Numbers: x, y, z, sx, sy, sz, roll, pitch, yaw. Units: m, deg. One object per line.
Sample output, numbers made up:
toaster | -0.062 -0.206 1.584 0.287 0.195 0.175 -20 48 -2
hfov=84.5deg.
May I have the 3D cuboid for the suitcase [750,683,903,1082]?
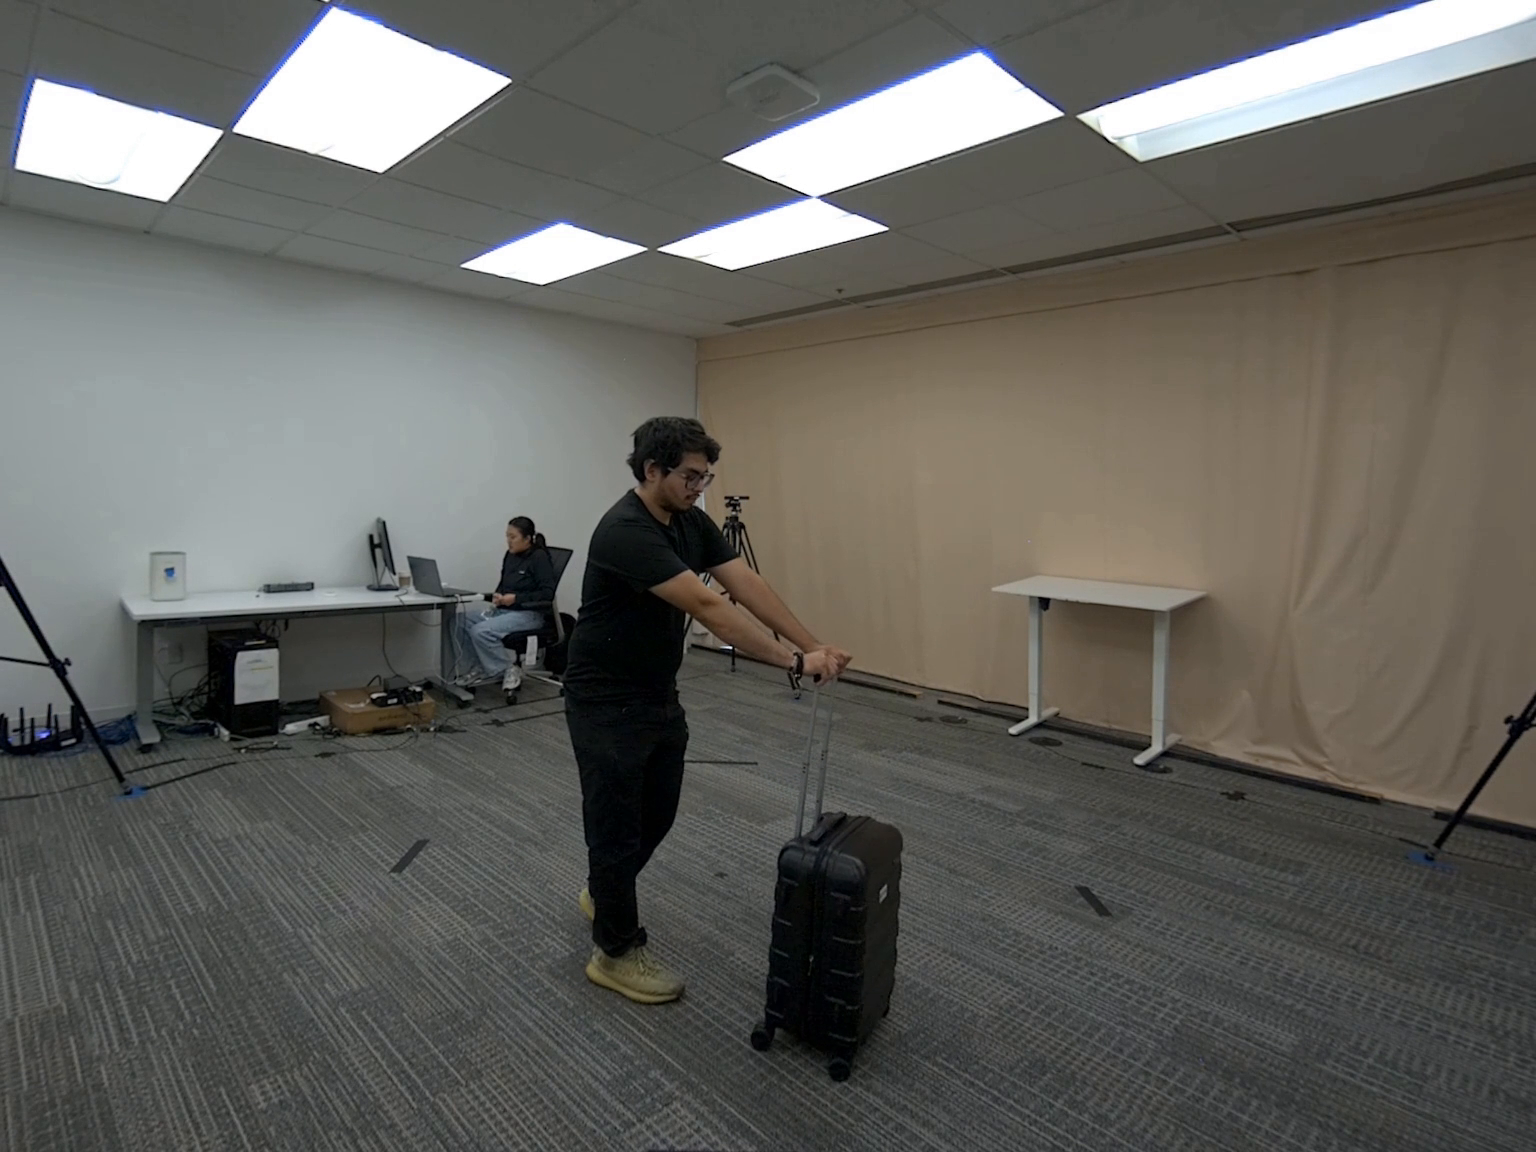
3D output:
suitcase | 0.195 0.727 2.176 0.262 0.976 0.377 8 5 24
